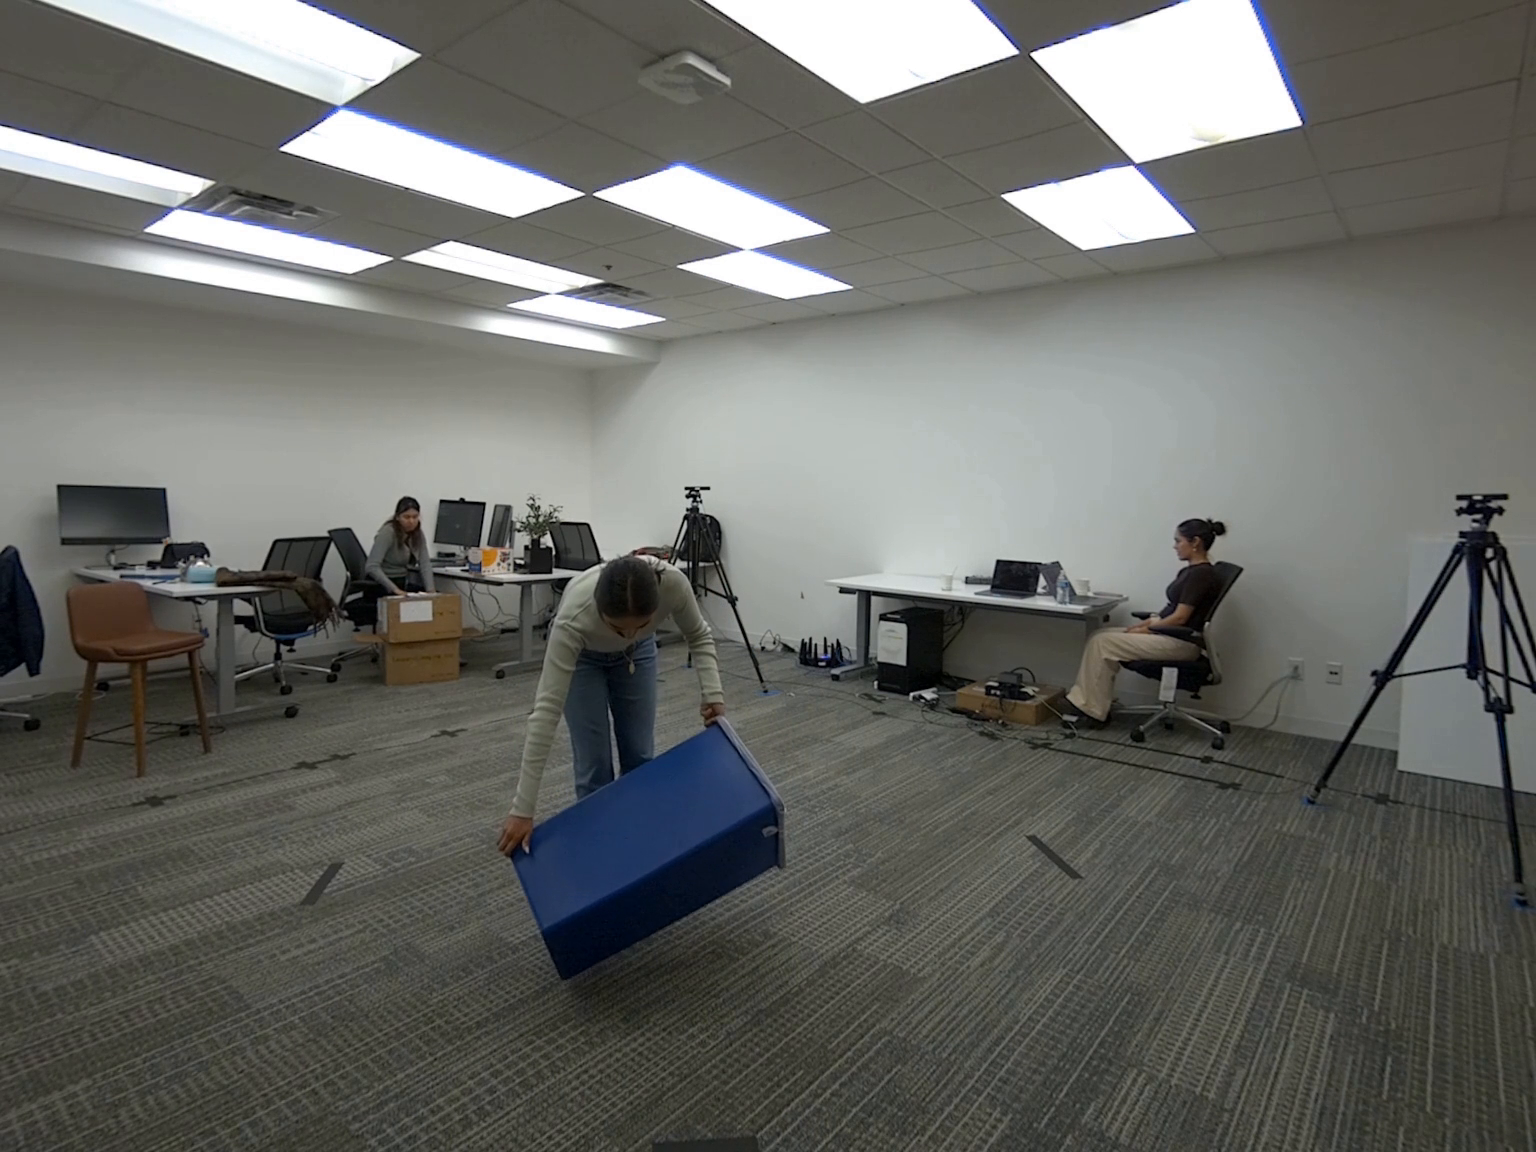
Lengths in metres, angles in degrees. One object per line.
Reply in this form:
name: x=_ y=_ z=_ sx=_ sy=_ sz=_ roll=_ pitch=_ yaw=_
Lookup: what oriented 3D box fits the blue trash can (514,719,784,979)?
blue trash can: x=-0.353 y=0.773 z=2.460 sx=0.705 sy=0.366 sz=0.390 roll=-24 pitch=47 yaw=-20
